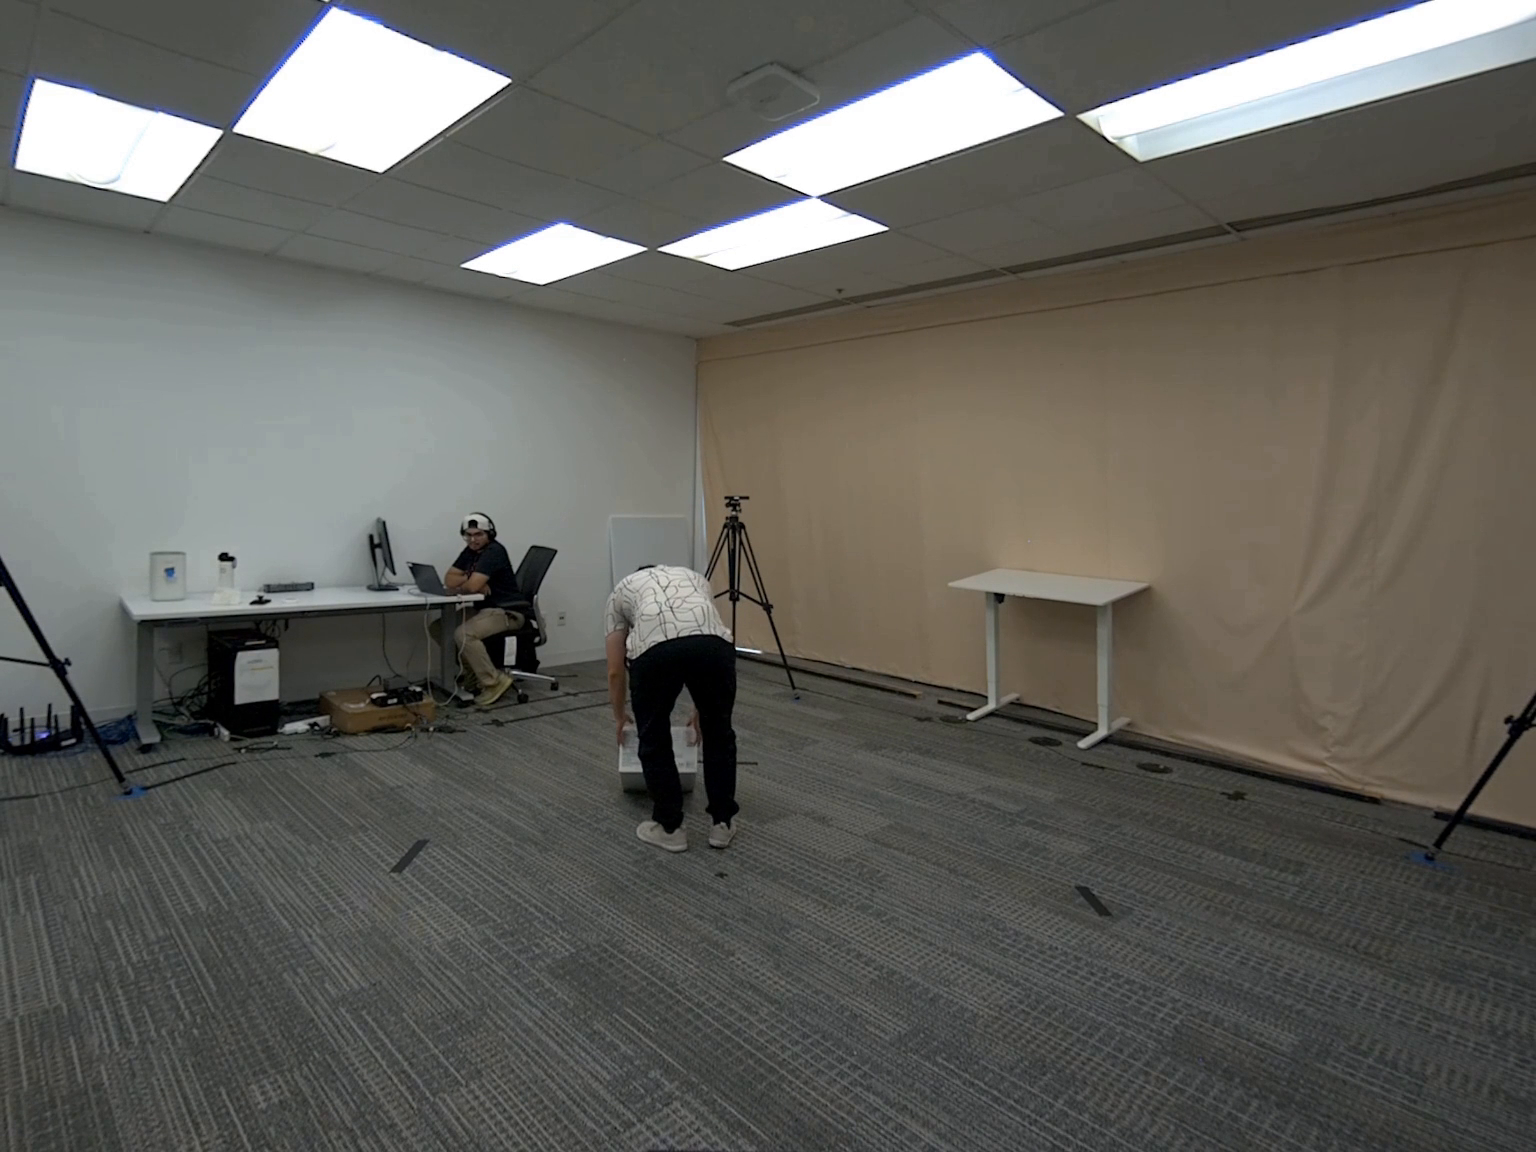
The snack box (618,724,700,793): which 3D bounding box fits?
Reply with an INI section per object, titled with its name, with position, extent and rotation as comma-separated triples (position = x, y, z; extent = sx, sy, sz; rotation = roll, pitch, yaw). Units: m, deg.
[snack box]
position = -0.512, 0.843, 3.857
extent = 0.339, 0.209, 0.399
rotation = 1, -25, -6
